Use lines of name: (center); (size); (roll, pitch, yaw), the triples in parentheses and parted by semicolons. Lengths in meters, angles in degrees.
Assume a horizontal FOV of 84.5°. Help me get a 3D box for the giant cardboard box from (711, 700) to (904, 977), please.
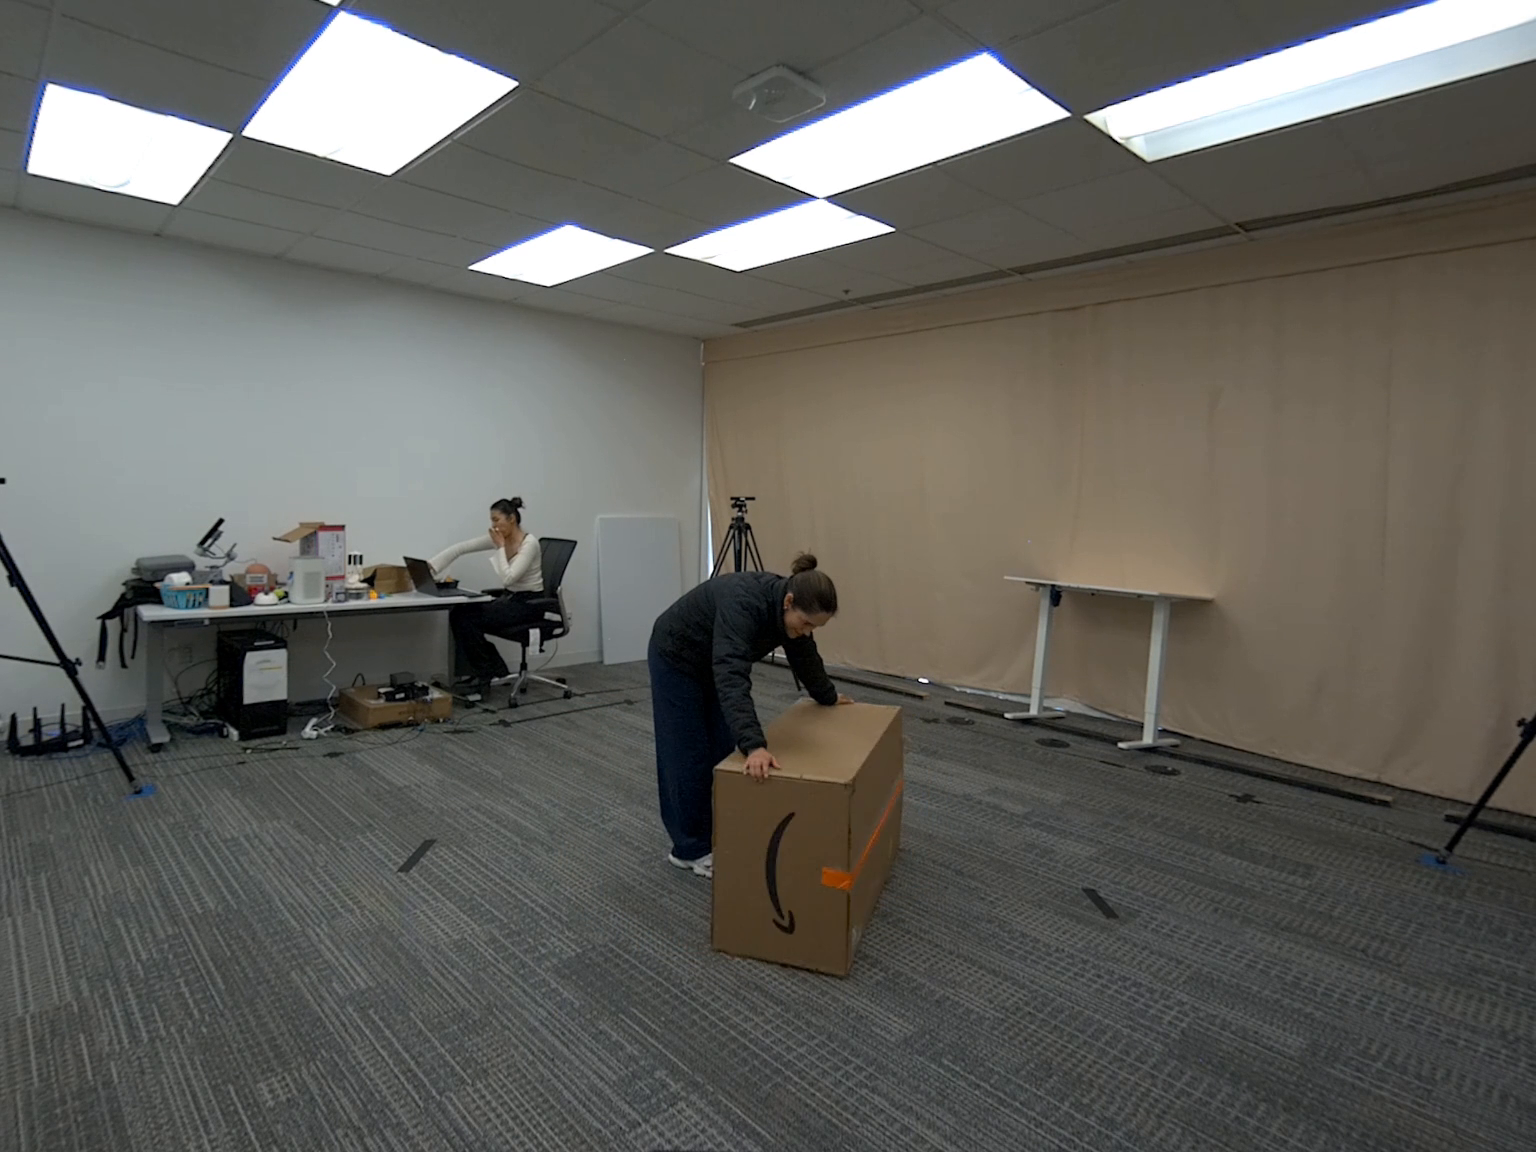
giant cardboard box: (0.187, 0.839, 2.969); (0.453, 0.583, 1.014); (0, 4, 18)
